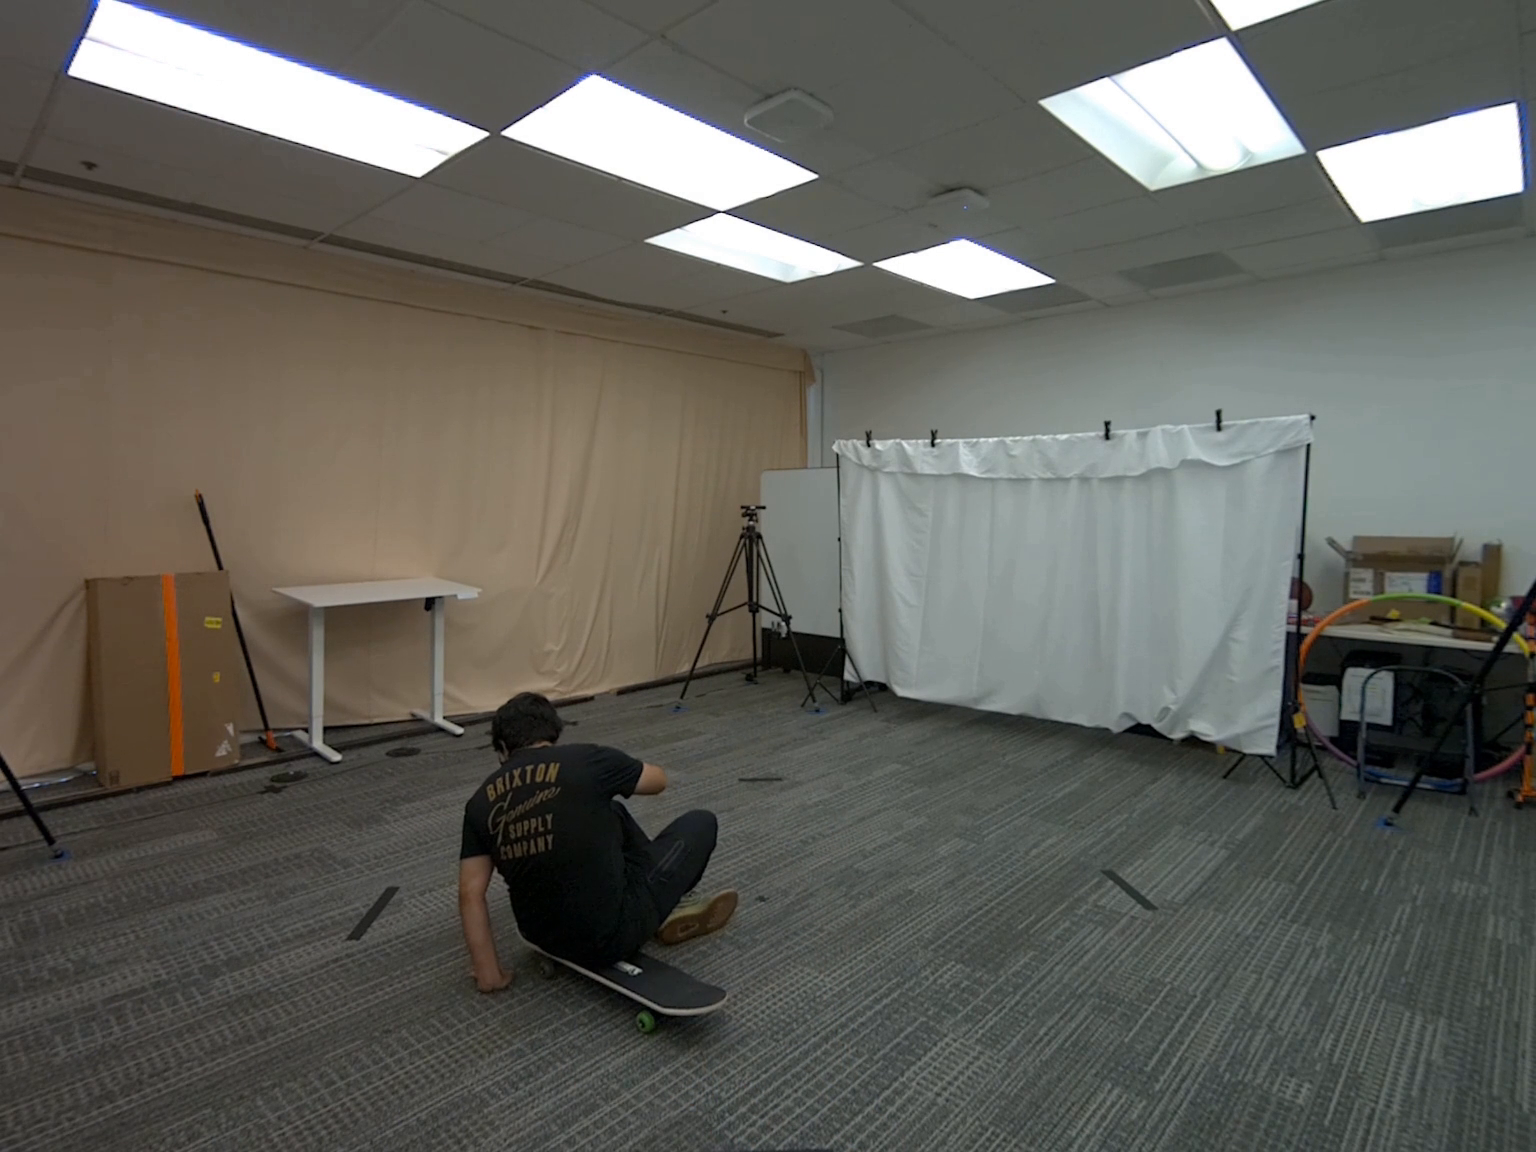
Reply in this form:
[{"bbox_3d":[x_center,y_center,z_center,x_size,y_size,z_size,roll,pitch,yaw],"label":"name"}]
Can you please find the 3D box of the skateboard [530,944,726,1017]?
[{"bbox_3d":[-0.436,1.137,2.420,0.811,0.110,0.187,2,1,40],"label":"skateboard"}]
